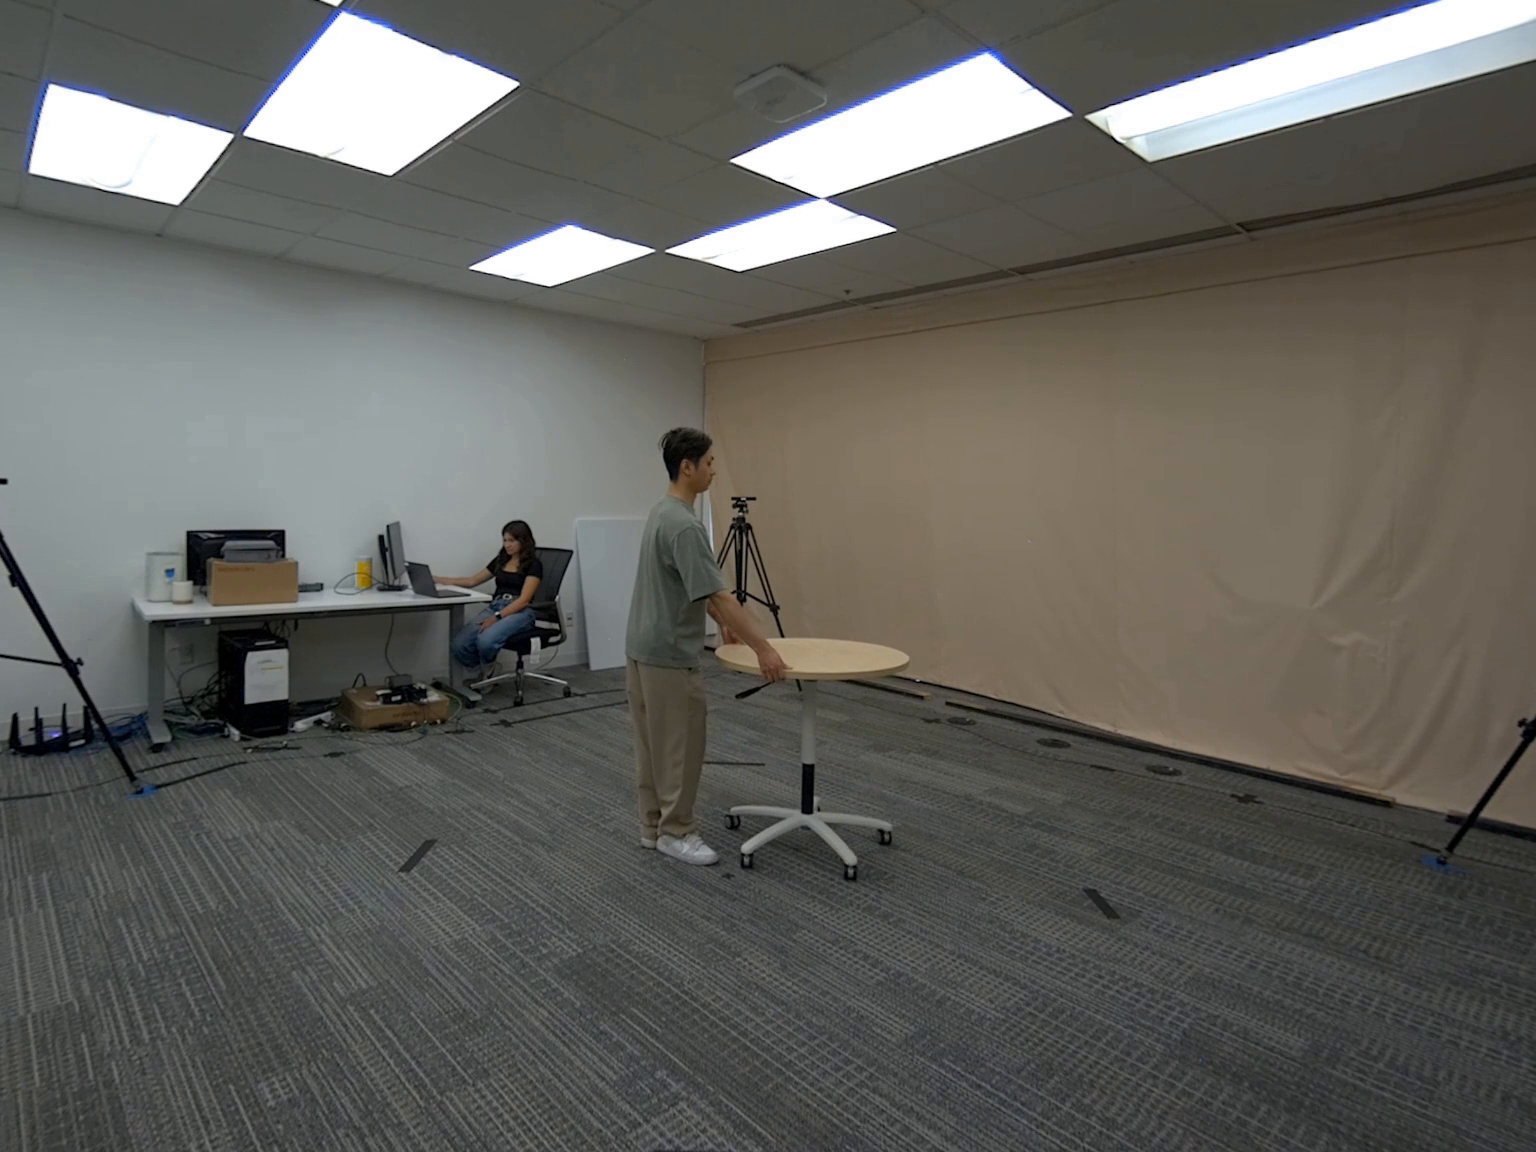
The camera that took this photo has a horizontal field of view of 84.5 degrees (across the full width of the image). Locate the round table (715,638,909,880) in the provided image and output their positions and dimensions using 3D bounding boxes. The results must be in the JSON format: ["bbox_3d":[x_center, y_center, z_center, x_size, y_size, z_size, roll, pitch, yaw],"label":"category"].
[{"bbox_3d":[0.167,0.694,3.369,0.784,0.785,0.787,0,4,-1],"label":"round table"}]
